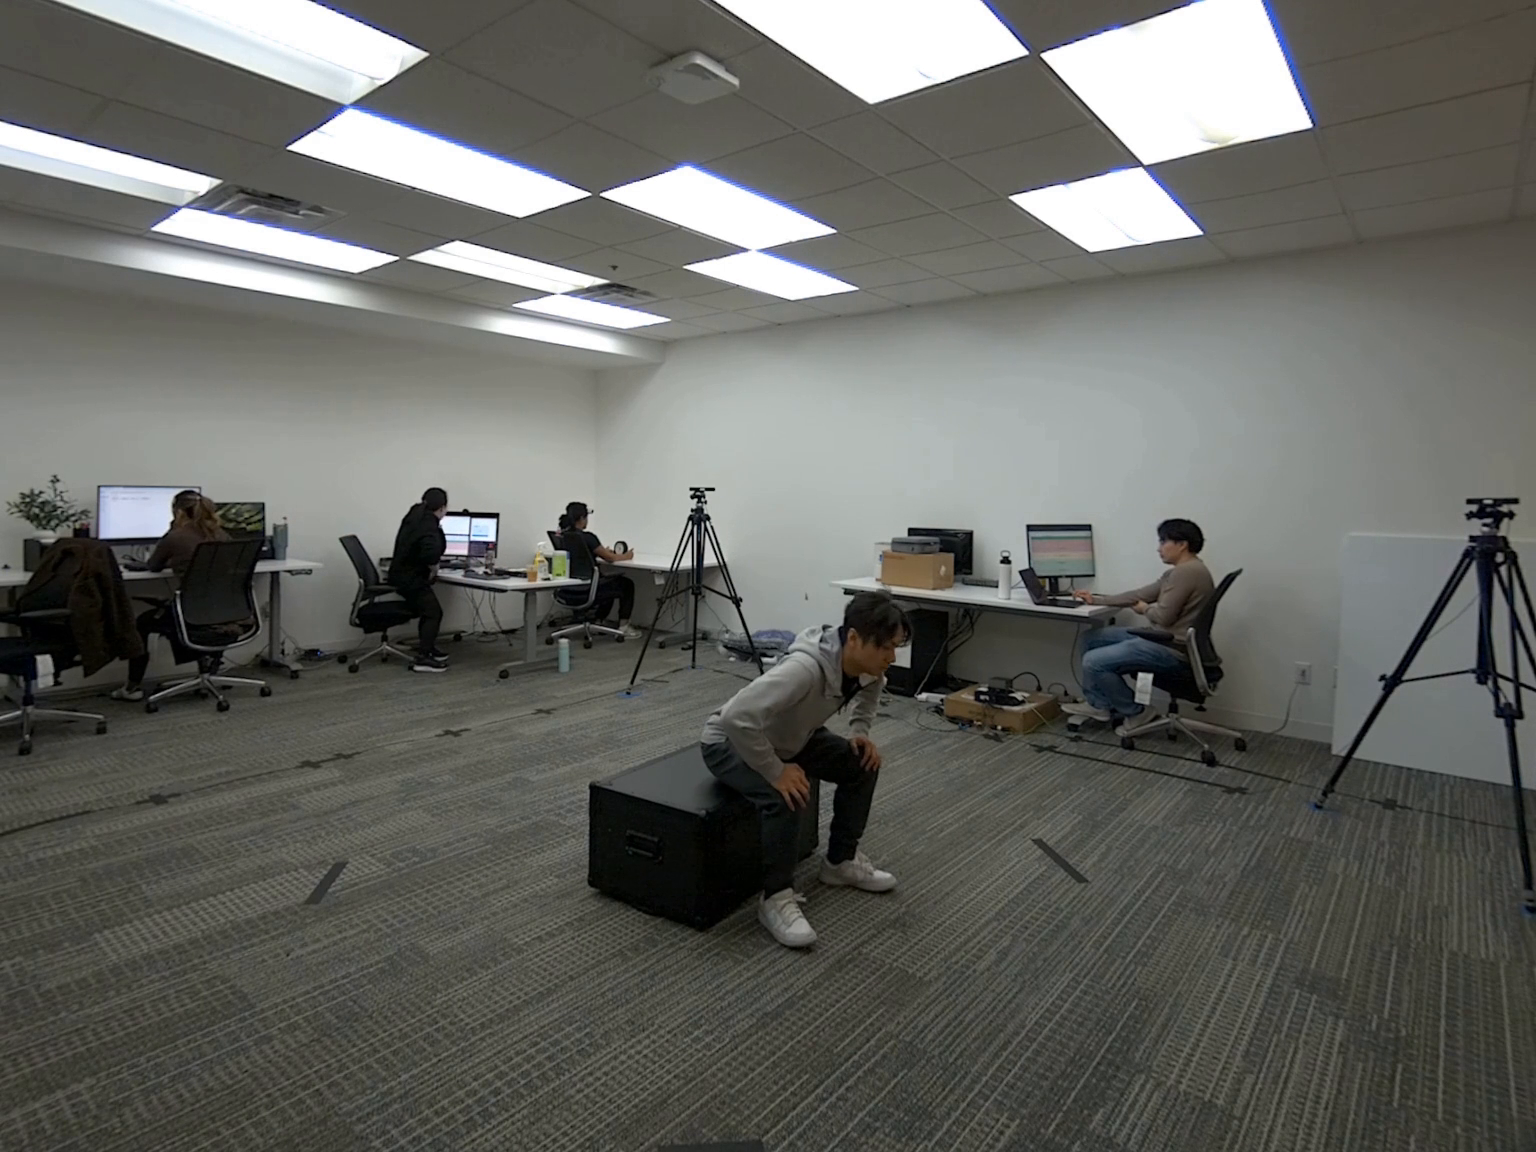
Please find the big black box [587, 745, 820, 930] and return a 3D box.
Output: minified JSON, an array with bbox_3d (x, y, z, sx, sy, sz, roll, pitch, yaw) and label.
[{"bbox_3d":[-0.240,0.884,3.061,0.537,0.395,0.838,4,6,33],"label":"big black box"}]
